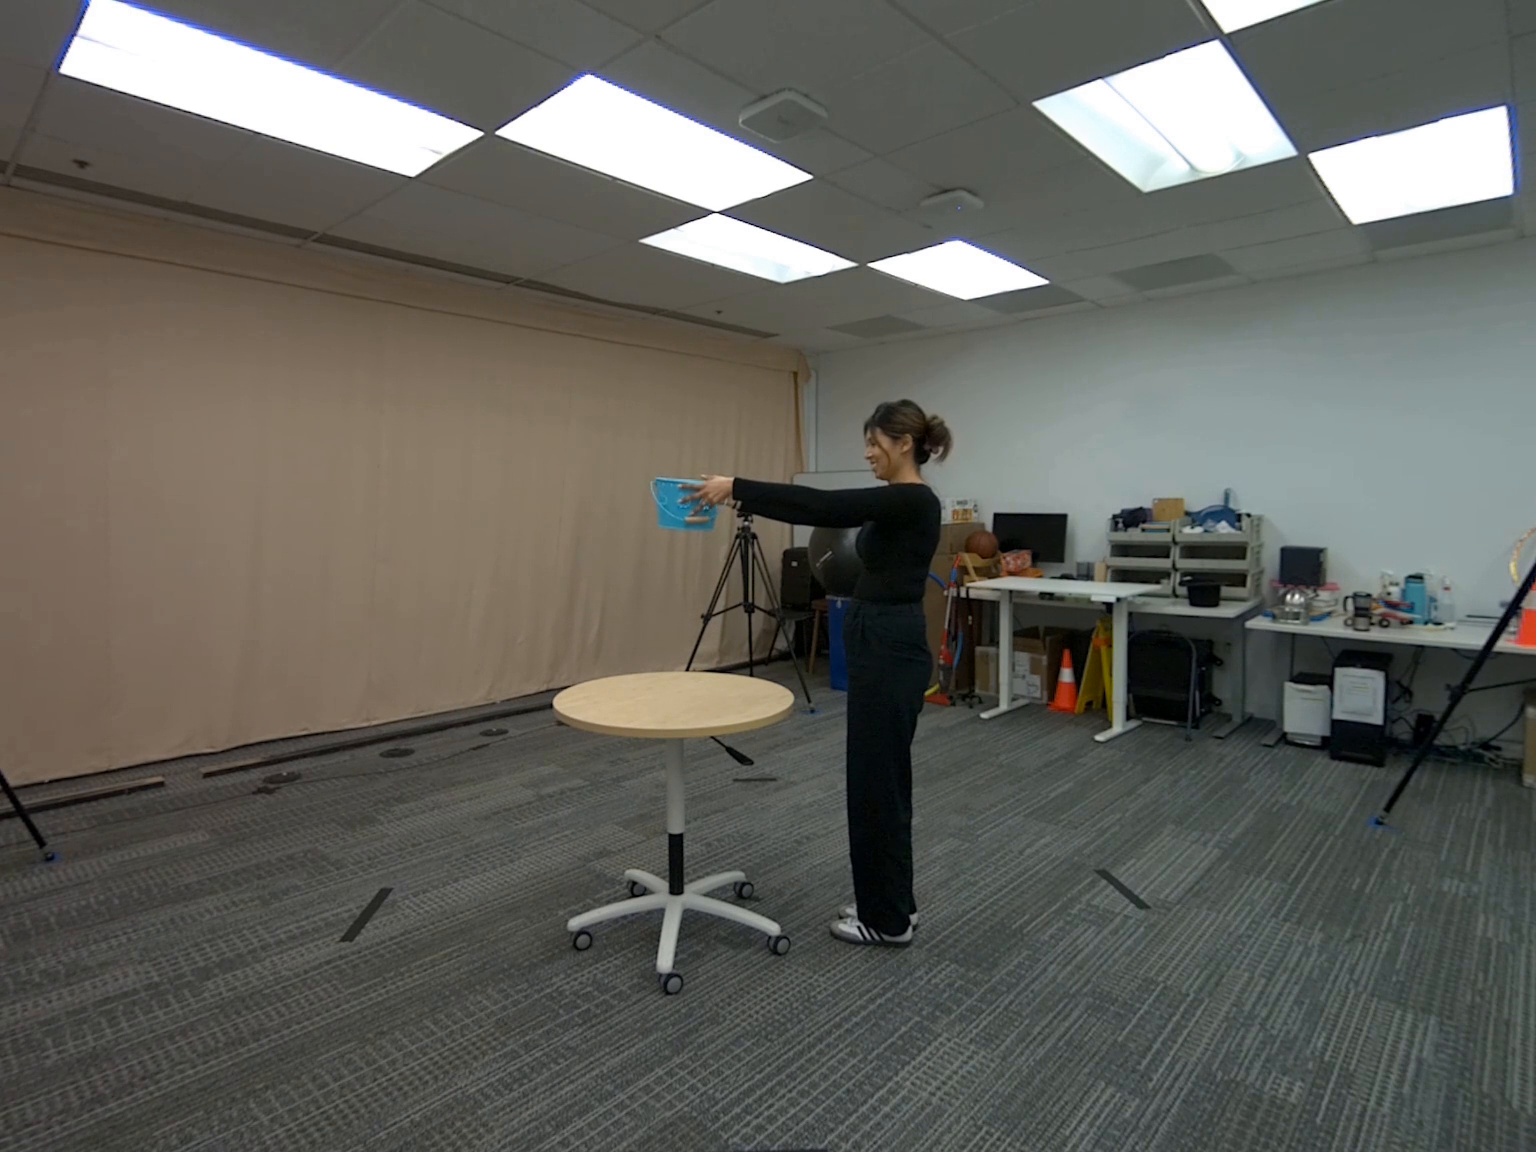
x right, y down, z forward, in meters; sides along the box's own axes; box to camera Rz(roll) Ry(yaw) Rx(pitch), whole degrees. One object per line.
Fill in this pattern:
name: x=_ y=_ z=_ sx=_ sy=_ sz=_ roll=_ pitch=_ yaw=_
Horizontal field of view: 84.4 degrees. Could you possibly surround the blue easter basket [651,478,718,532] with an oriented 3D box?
blue easter basket: x=-0.259 y=-0.232 z=2.714 sx=0.243 sy=0.155 sz=0.245 roll=3 pitch=6 yaw=-2
